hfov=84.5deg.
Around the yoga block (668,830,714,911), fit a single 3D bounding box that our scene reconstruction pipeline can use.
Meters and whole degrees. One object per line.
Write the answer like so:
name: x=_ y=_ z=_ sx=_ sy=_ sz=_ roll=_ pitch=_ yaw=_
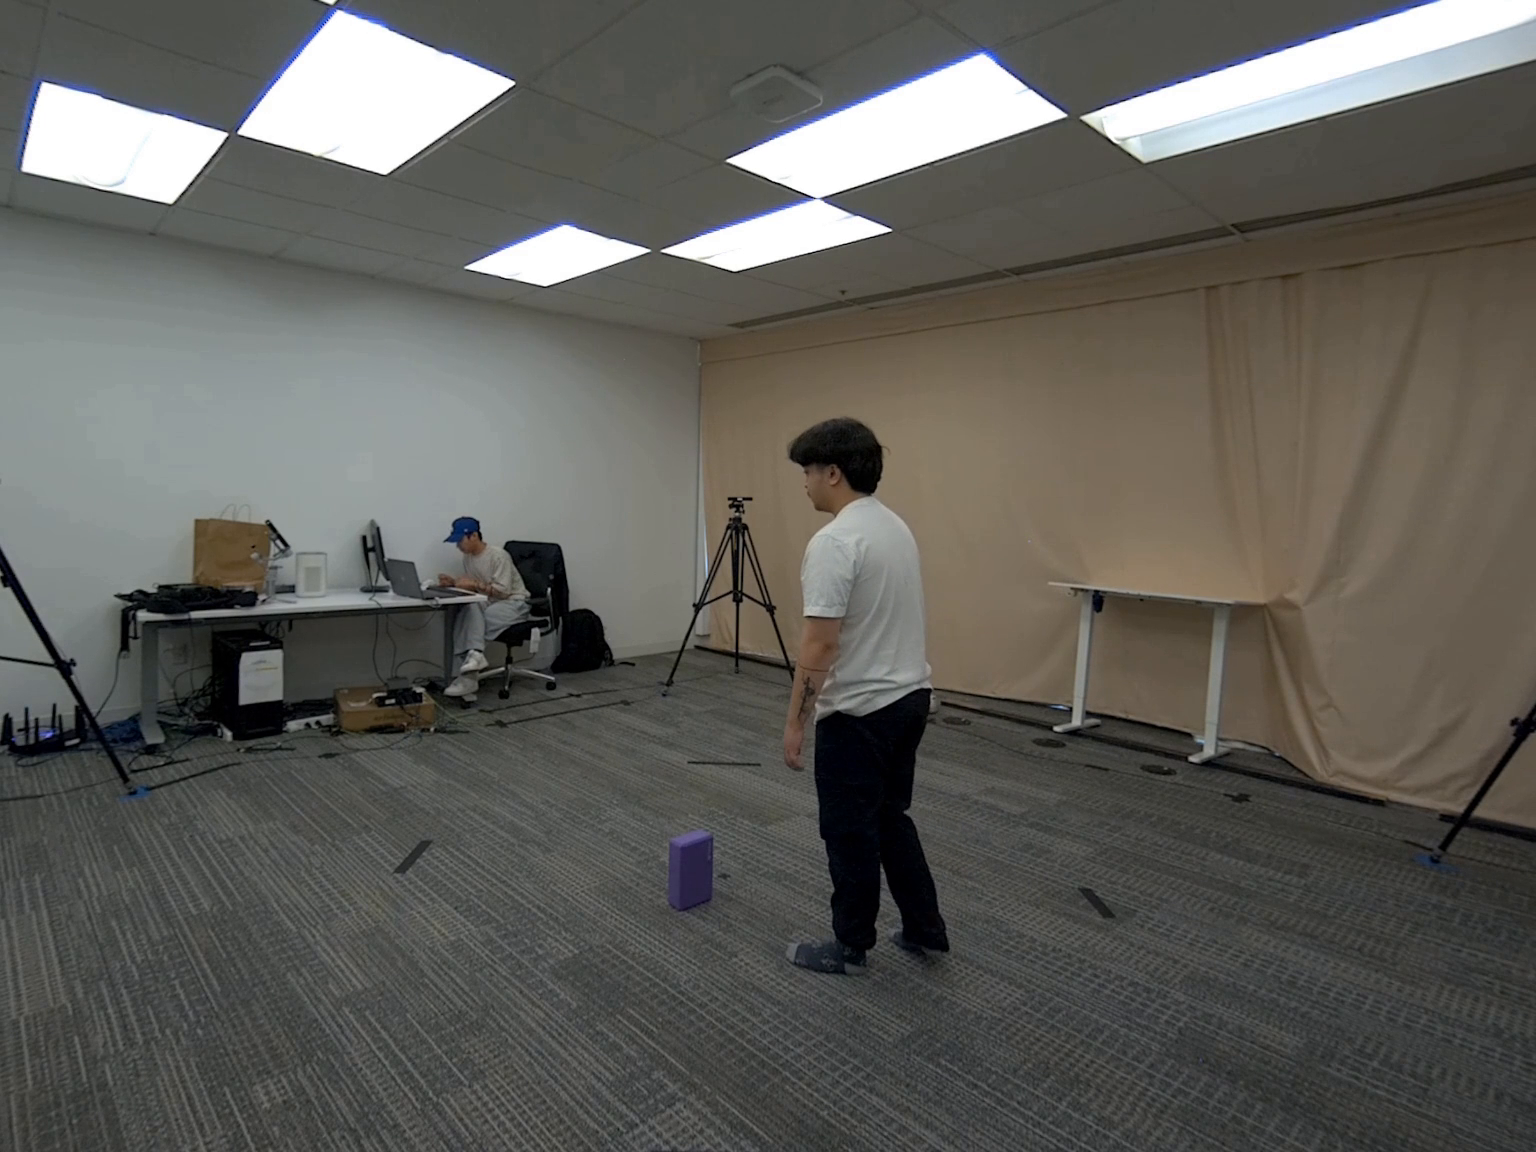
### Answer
yoga block: x=-0.273 y=1.009 z=2.889 sx=0.145 sy=0.229 sz=0.078 roll=-3 pitch=5 yaw=-43
